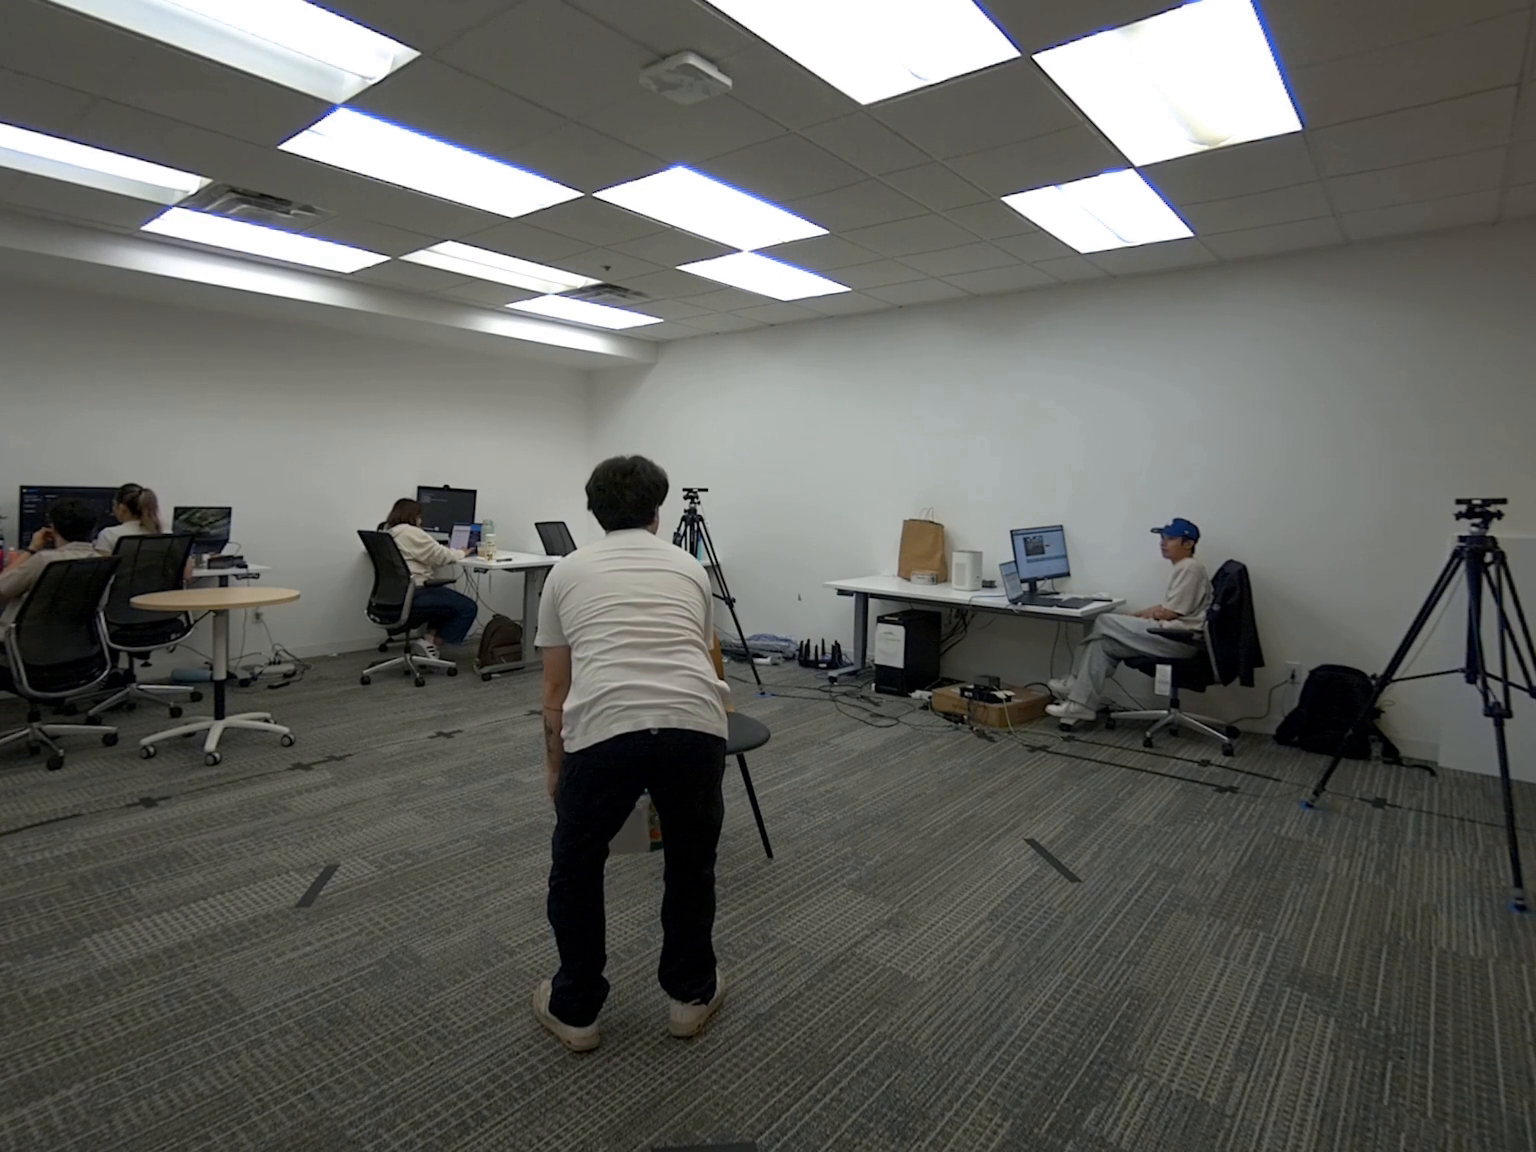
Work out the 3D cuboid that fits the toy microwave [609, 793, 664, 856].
[{"bbox_3d":[-0.442,0.691,2.436,0.282,0.184,0.155,0,3,-15],"label":"toy microwave"}]
